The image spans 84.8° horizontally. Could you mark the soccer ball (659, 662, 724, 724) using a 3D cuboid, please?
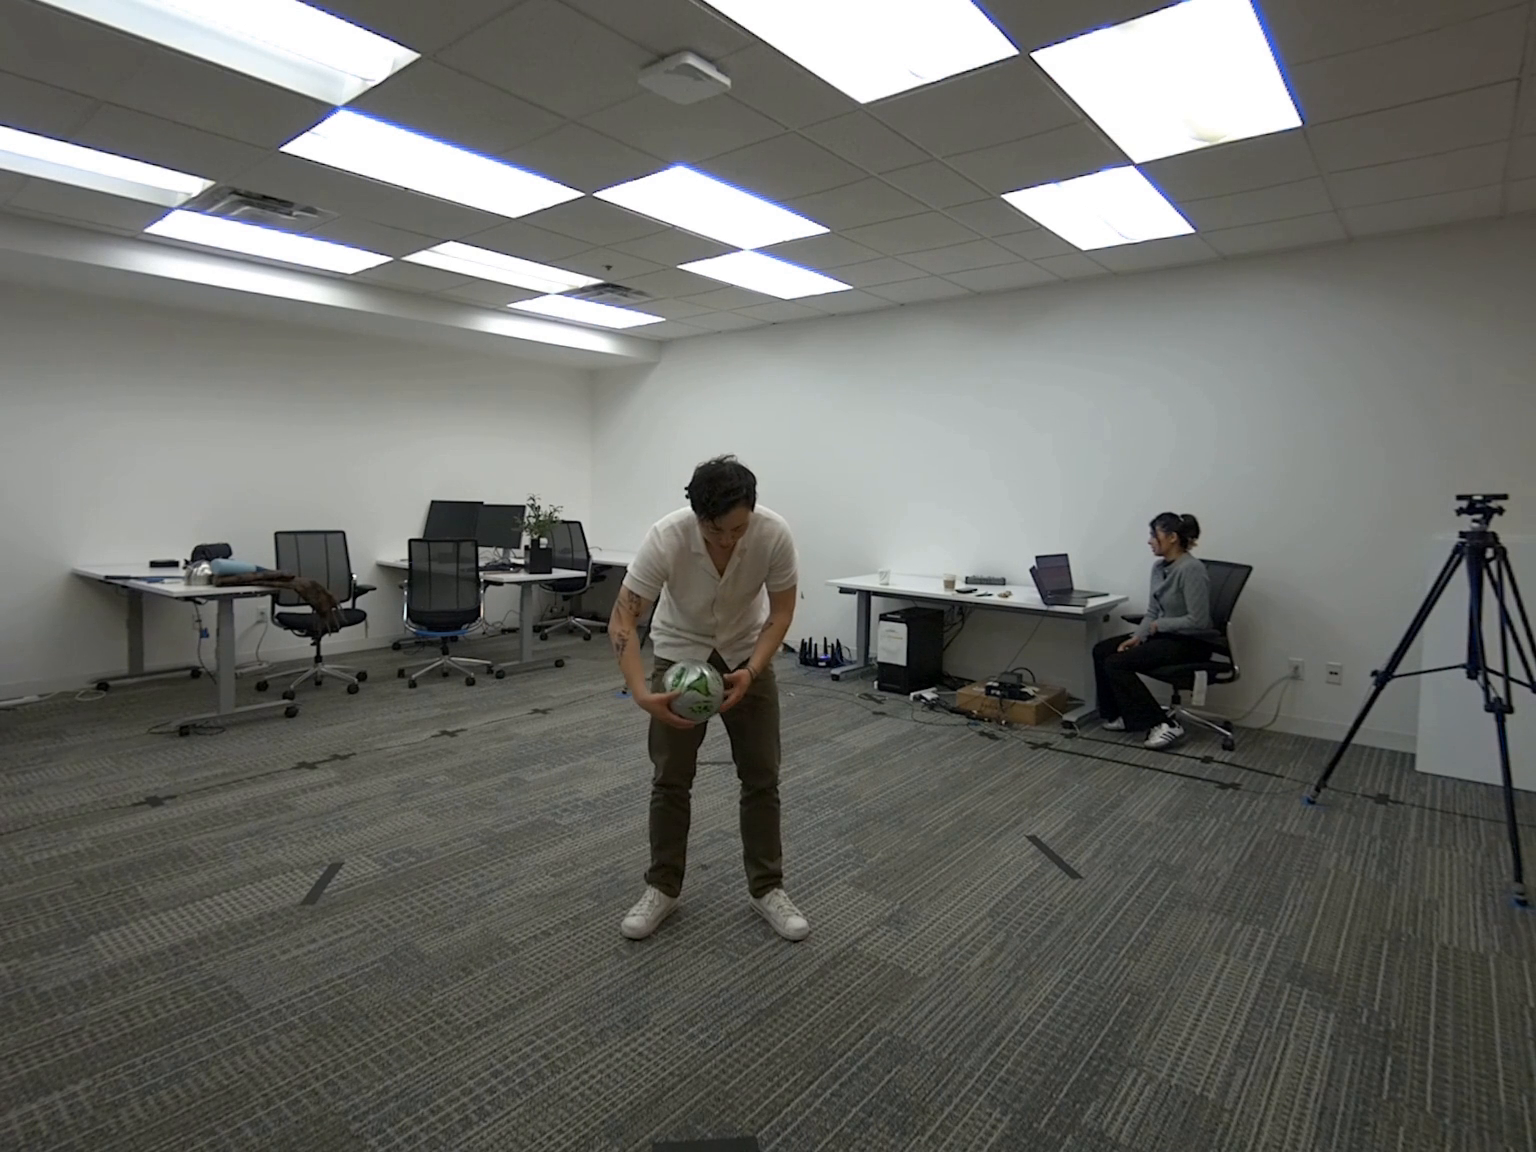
[{"bbox_3d":[-0.235,0.337,2.493,0.187,0.187,0.188,1,4,-2],"label":"soccer ball"}]
